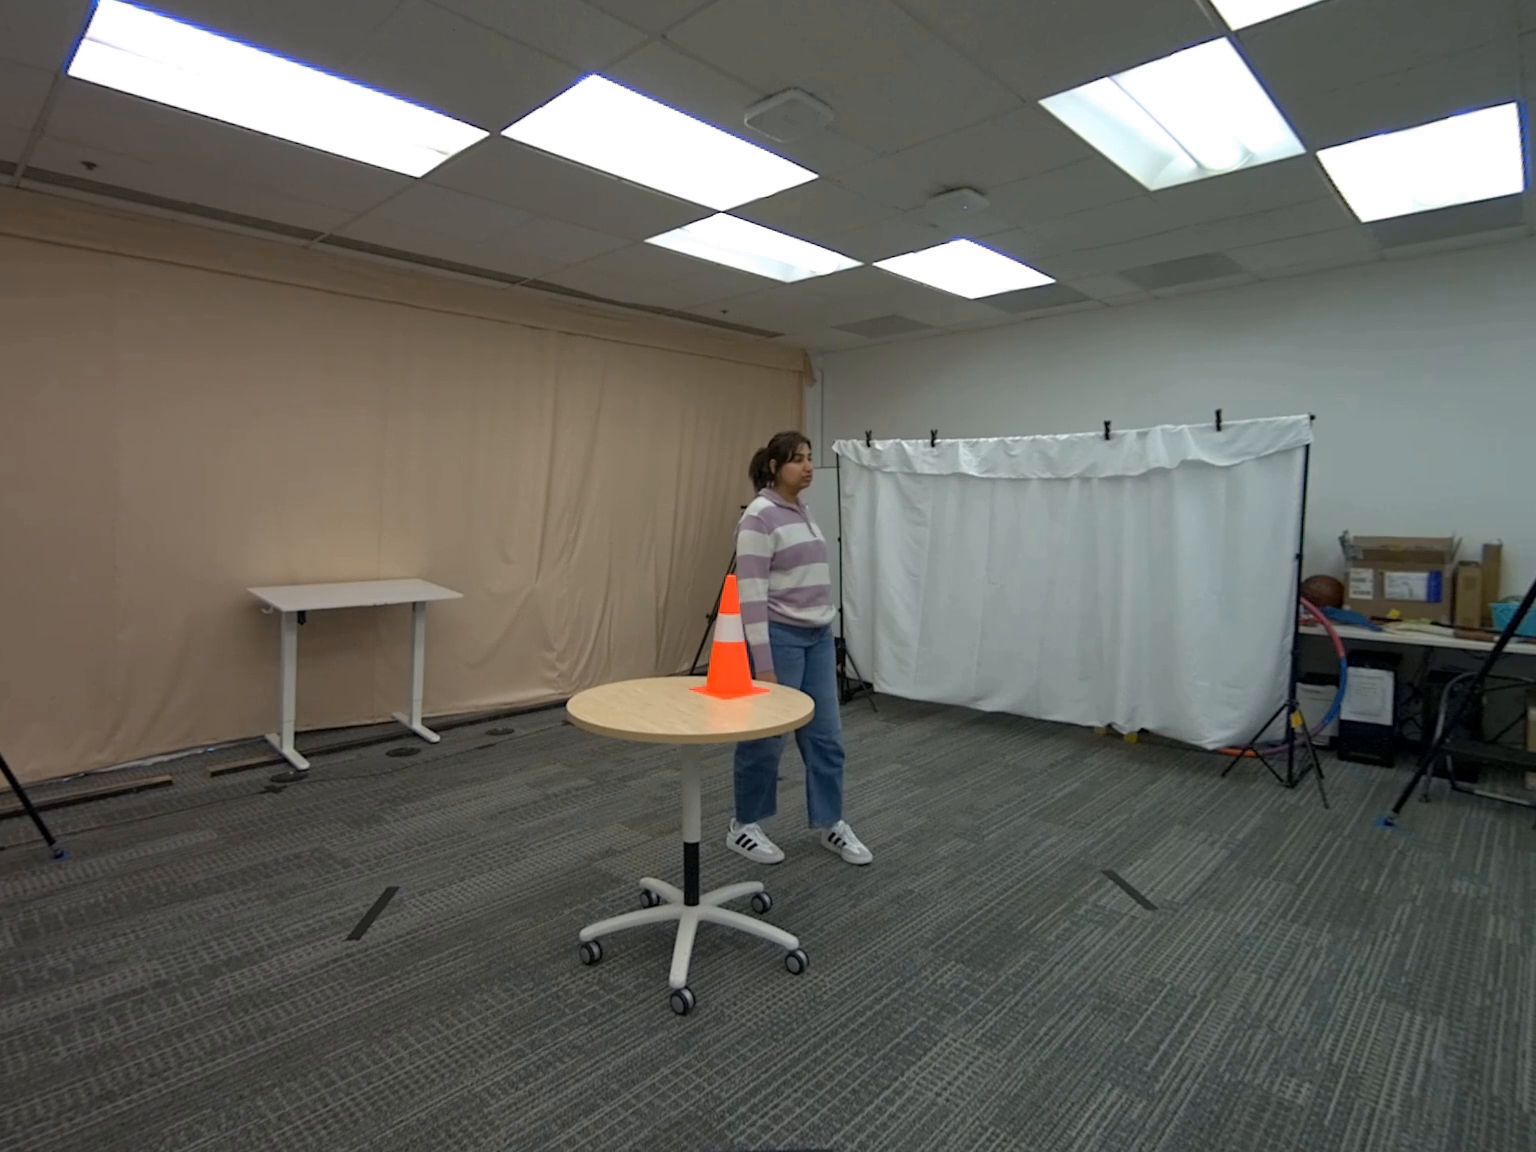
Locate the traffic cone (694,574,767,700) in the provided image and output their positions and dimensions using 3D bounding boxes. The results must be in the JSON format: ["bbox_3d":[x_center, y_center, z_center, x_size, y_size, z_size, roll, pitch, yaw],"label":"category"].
[{"bbox_3d":[-0.123,0.190,2.775,0.210,0.383,0.199,5,5,39],"label":"traffic cone"}]
